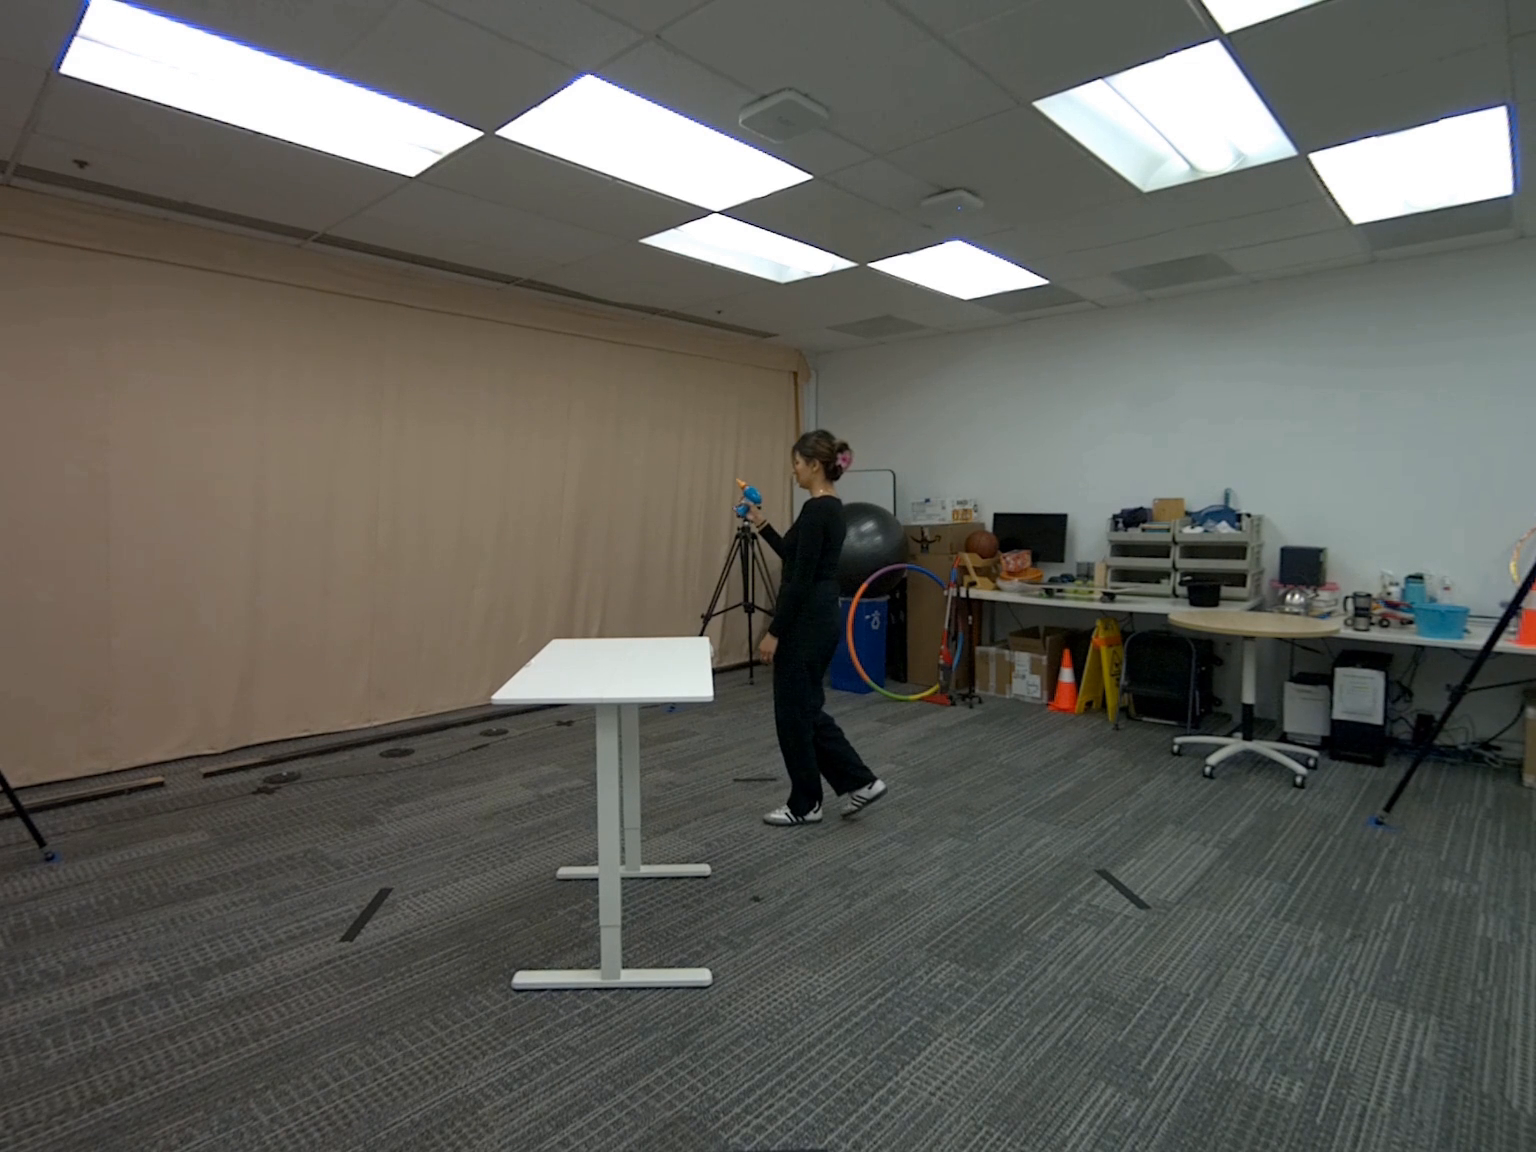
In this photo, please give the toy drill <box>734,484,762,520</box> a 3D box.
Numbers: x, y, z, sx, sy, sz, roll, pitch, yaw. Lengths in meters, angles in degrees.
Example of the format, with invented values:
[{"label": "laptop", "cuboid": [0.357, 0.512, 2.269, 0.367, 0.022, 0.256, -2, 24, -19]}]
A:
[{"label": "toy drill", "cuboid": [-0.114, -0.368, 3.950, 0.173, 0.146, 0.060, 46, 9, 14]}]
